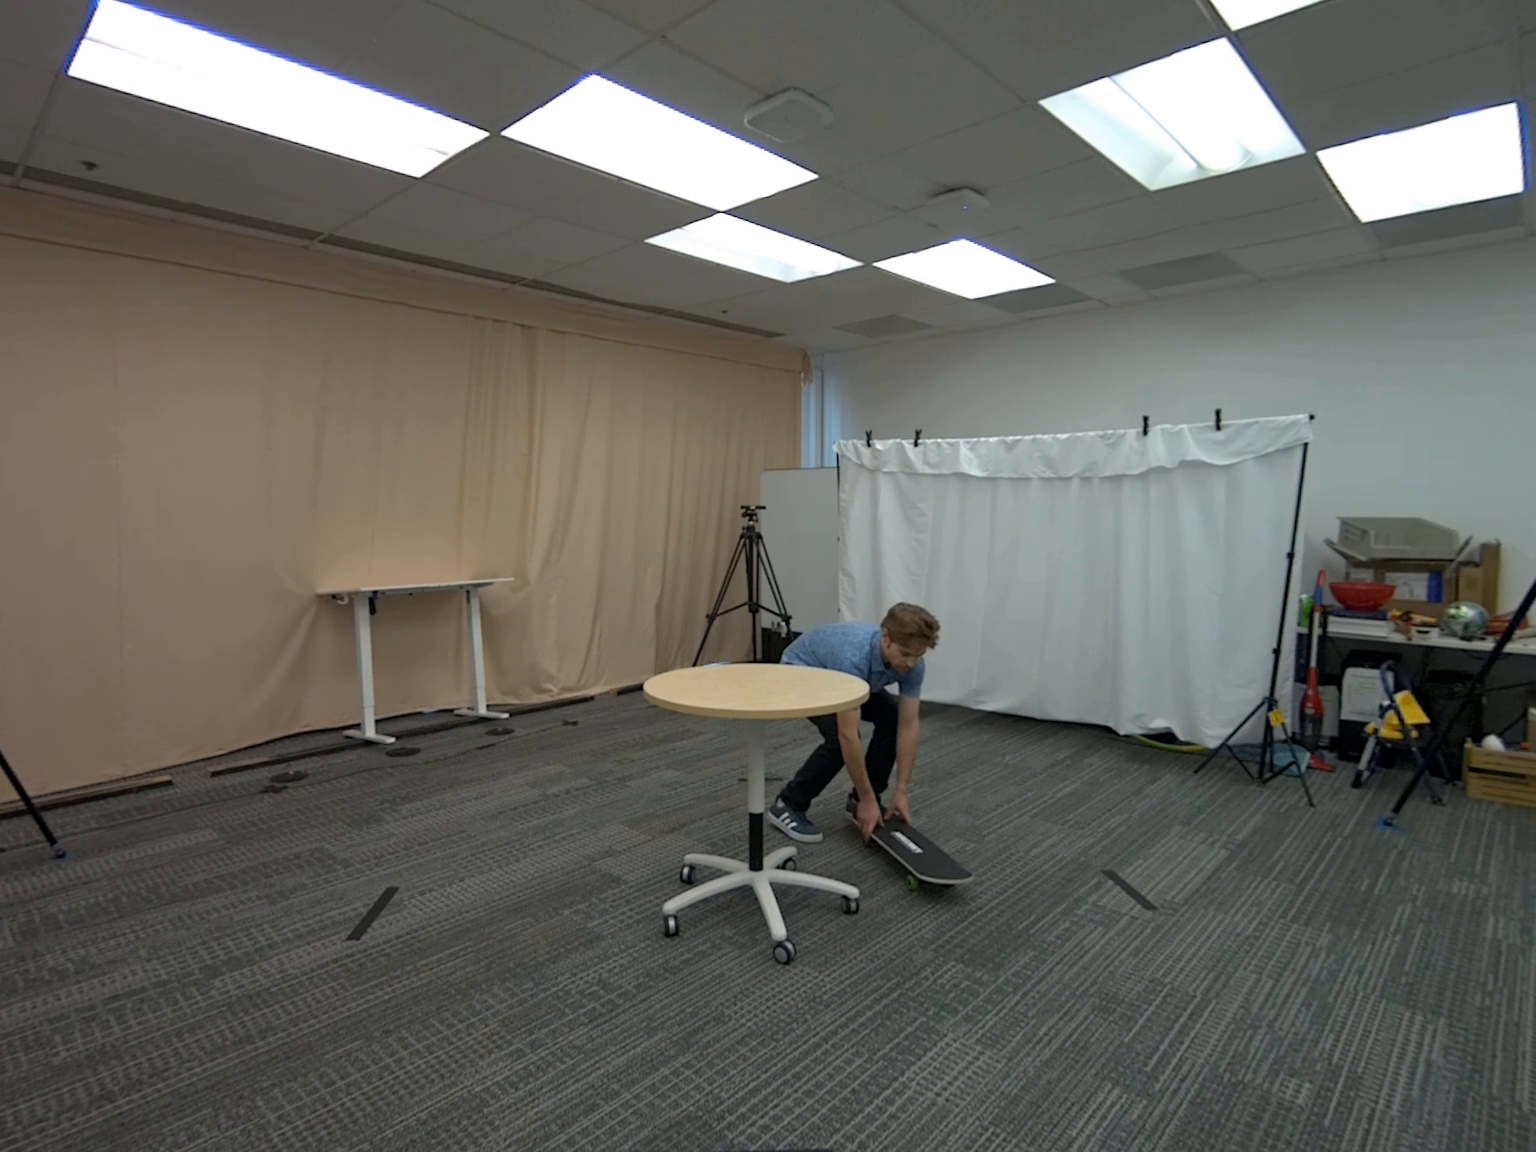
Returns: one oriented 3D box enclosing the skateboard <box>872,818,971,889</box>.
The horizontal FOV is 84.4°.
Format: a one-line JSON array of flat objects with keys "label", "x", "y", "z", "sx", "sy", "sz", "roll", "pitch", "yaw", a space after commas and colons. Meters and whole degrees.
[{"label": "skateboard", "x": 0.526, "y": 1.063, "z": 3.261, "sx": 0.191, "sy": 0.110, "sz": 0.798, "roll": 0, "pitch": 4, "yaw": -14}]
